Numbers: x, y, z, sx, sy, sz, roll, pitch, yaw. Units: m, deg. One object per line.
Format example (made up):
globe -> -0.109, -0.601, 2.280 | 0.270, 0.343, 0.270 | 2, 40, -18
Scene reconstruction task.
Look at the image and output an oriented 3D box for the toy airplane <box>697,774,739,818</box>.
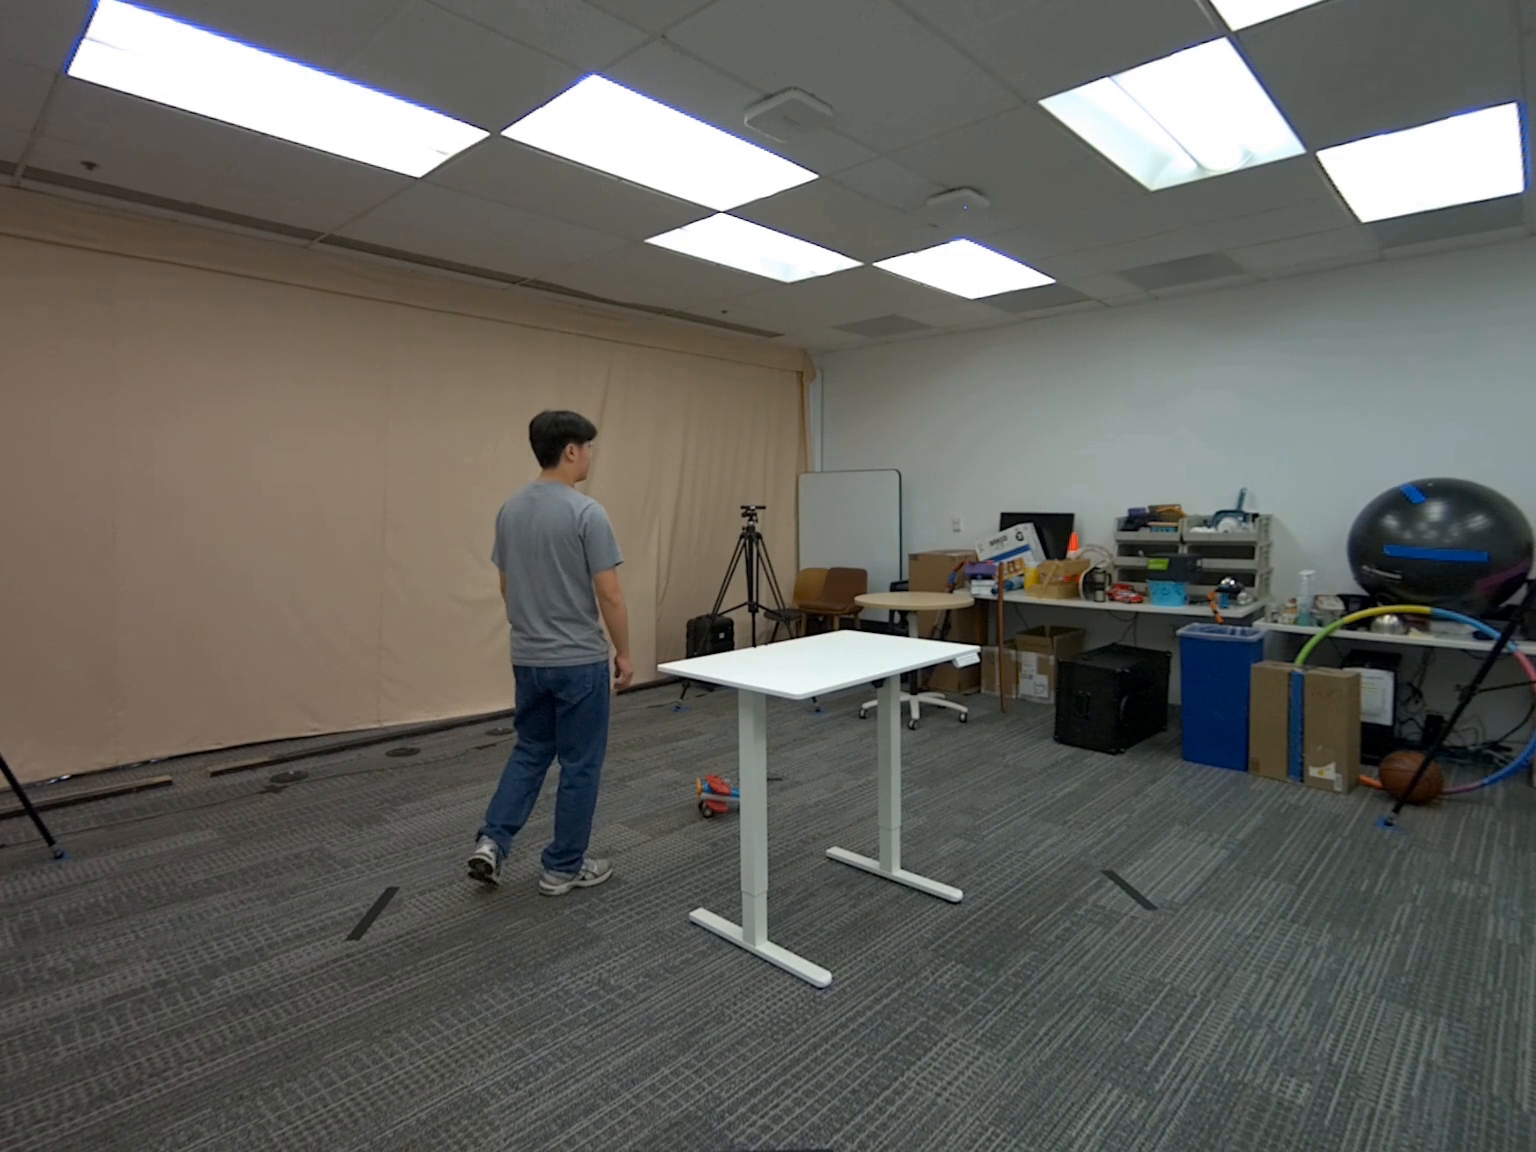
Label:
toy airplane -> -0.208, 1.002, 3.847 | 0.251, 0.156, 0.259 | -5, 6, -43
